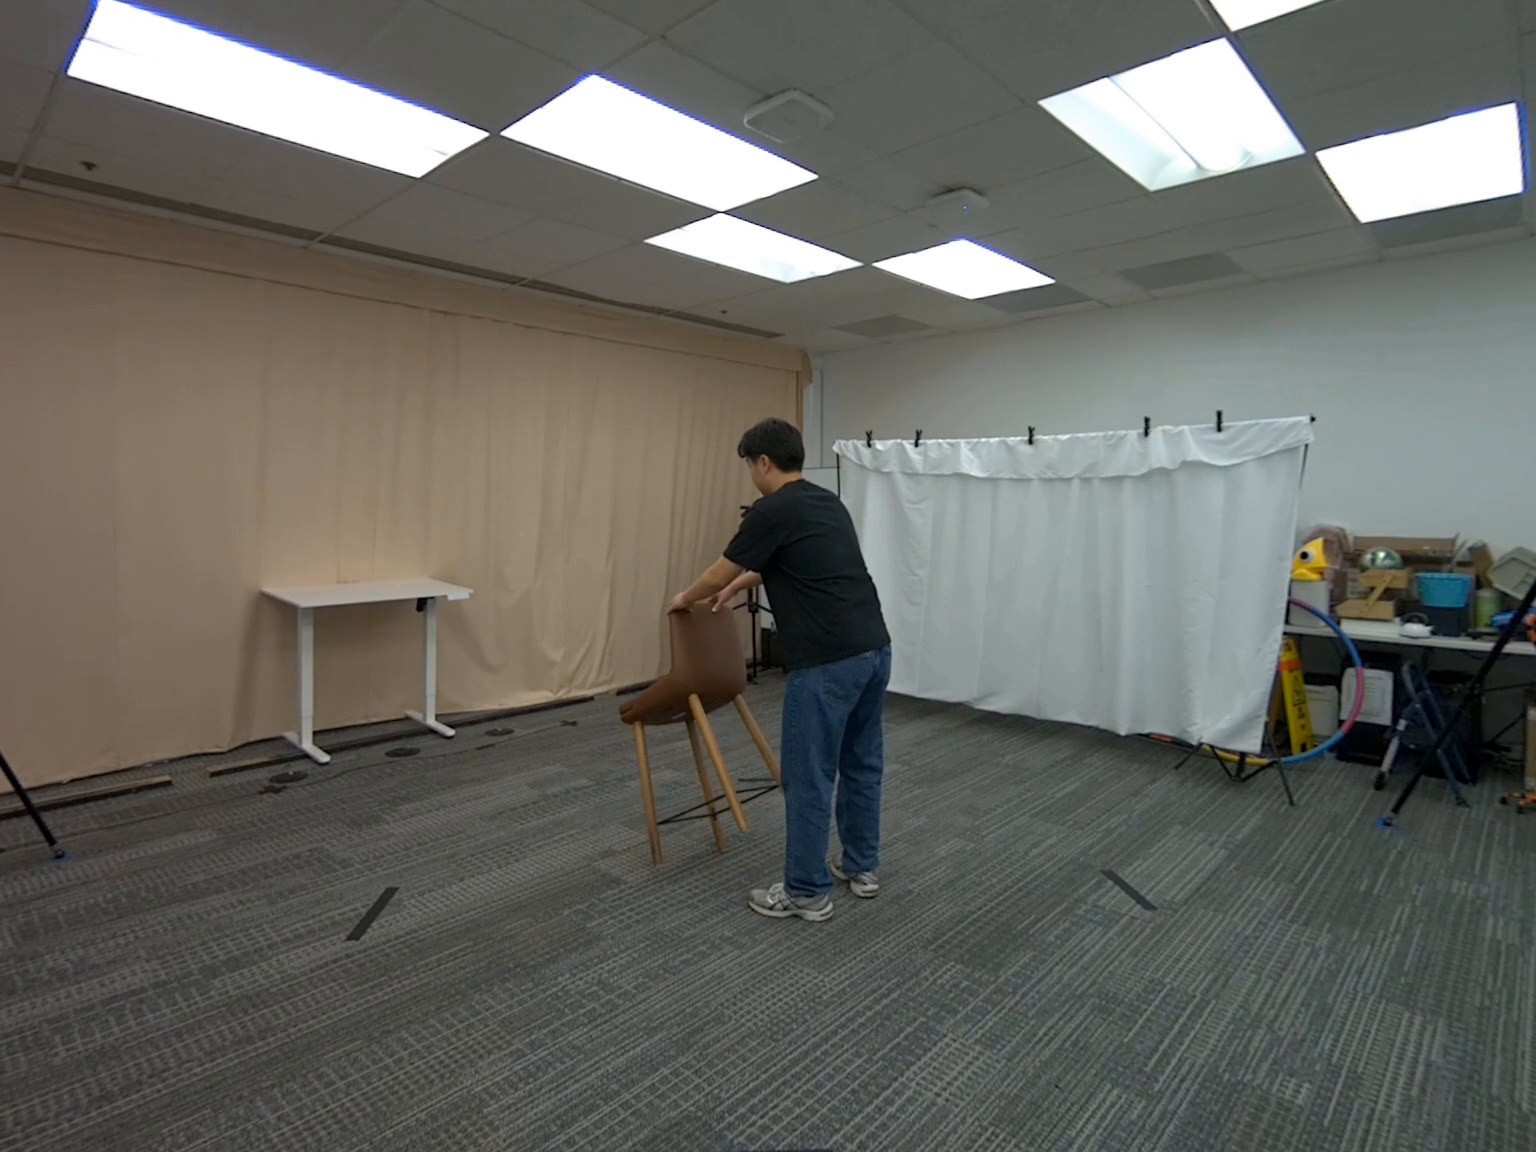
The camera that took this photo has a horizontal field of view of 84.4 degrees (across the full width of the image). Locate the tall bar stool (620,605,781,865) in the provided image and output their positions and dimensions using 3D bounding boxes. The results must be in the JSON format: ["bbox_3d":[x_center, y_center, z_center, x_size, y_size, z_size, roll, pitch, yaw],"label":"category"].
[{"bbox_3d":[-0.270,0.602,3.312,0.475,0.906,0.441,-31,-24,30],"label":"tall bar stool"}]
